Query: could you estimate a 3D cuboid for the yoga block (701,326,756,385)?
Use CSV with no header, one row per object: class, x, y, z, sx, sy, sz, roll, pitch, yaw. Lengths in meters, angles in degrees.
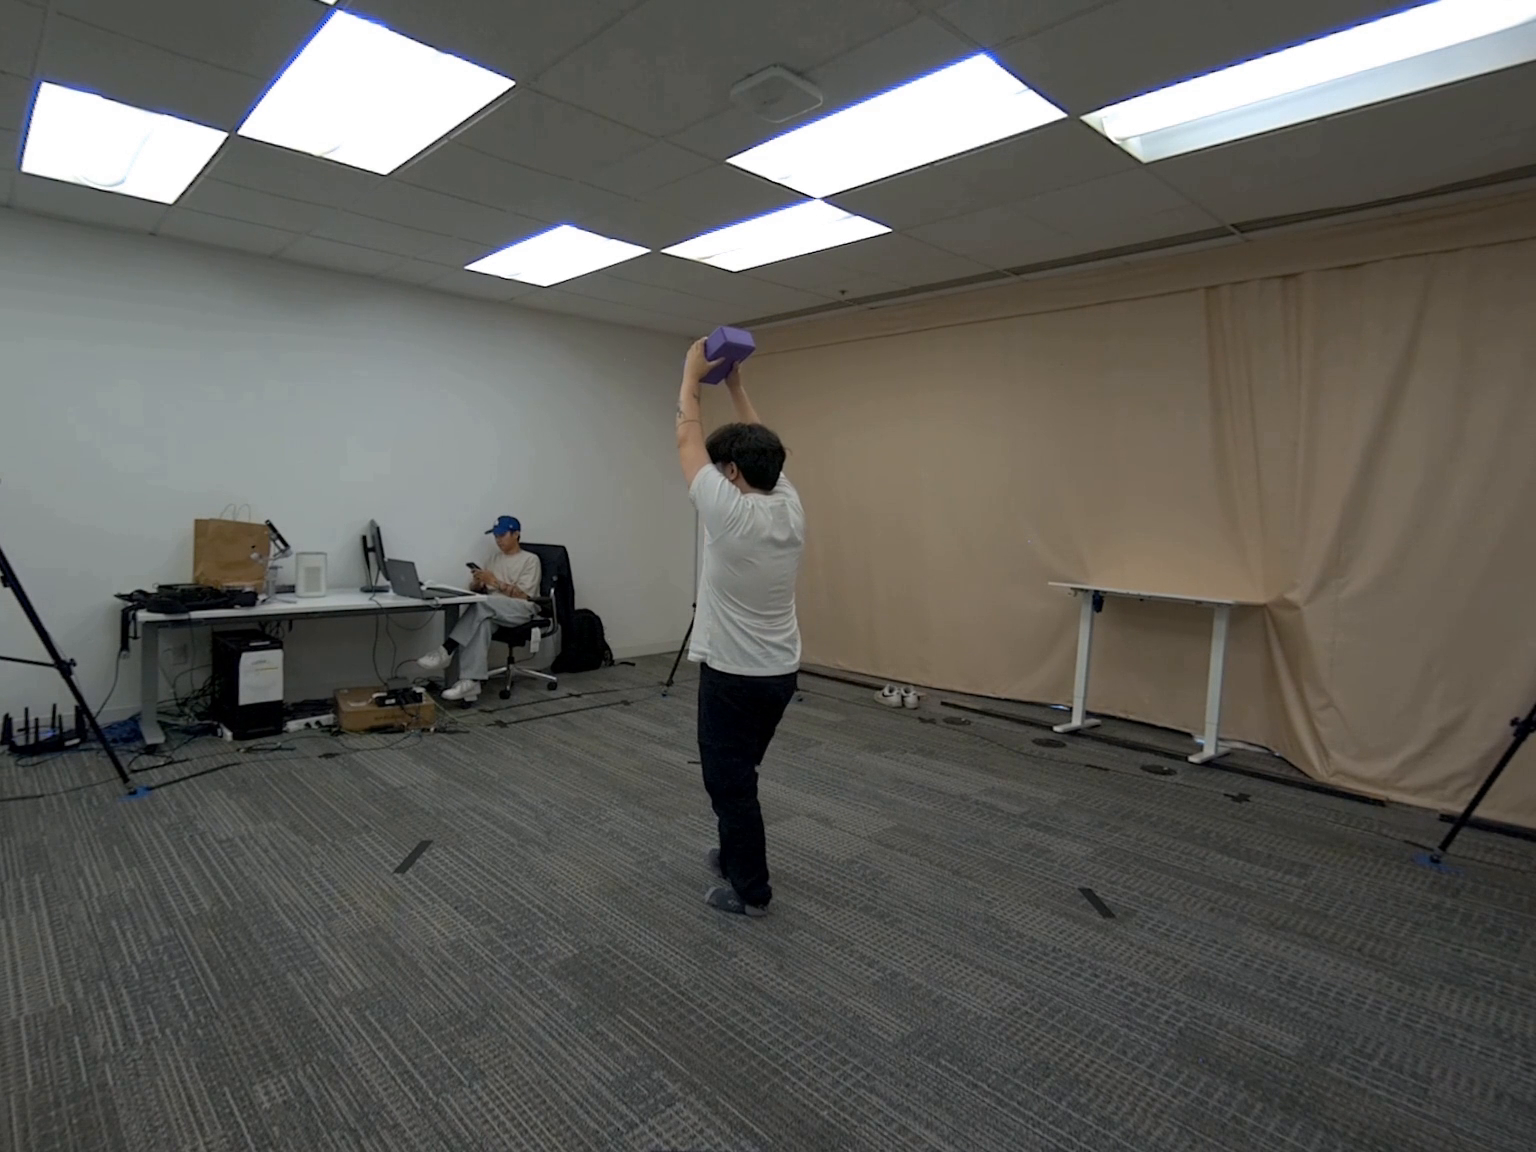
yoga block,-0.173,-0.751,2.902,0.145,0.077,0.231,-4,-22,-46
